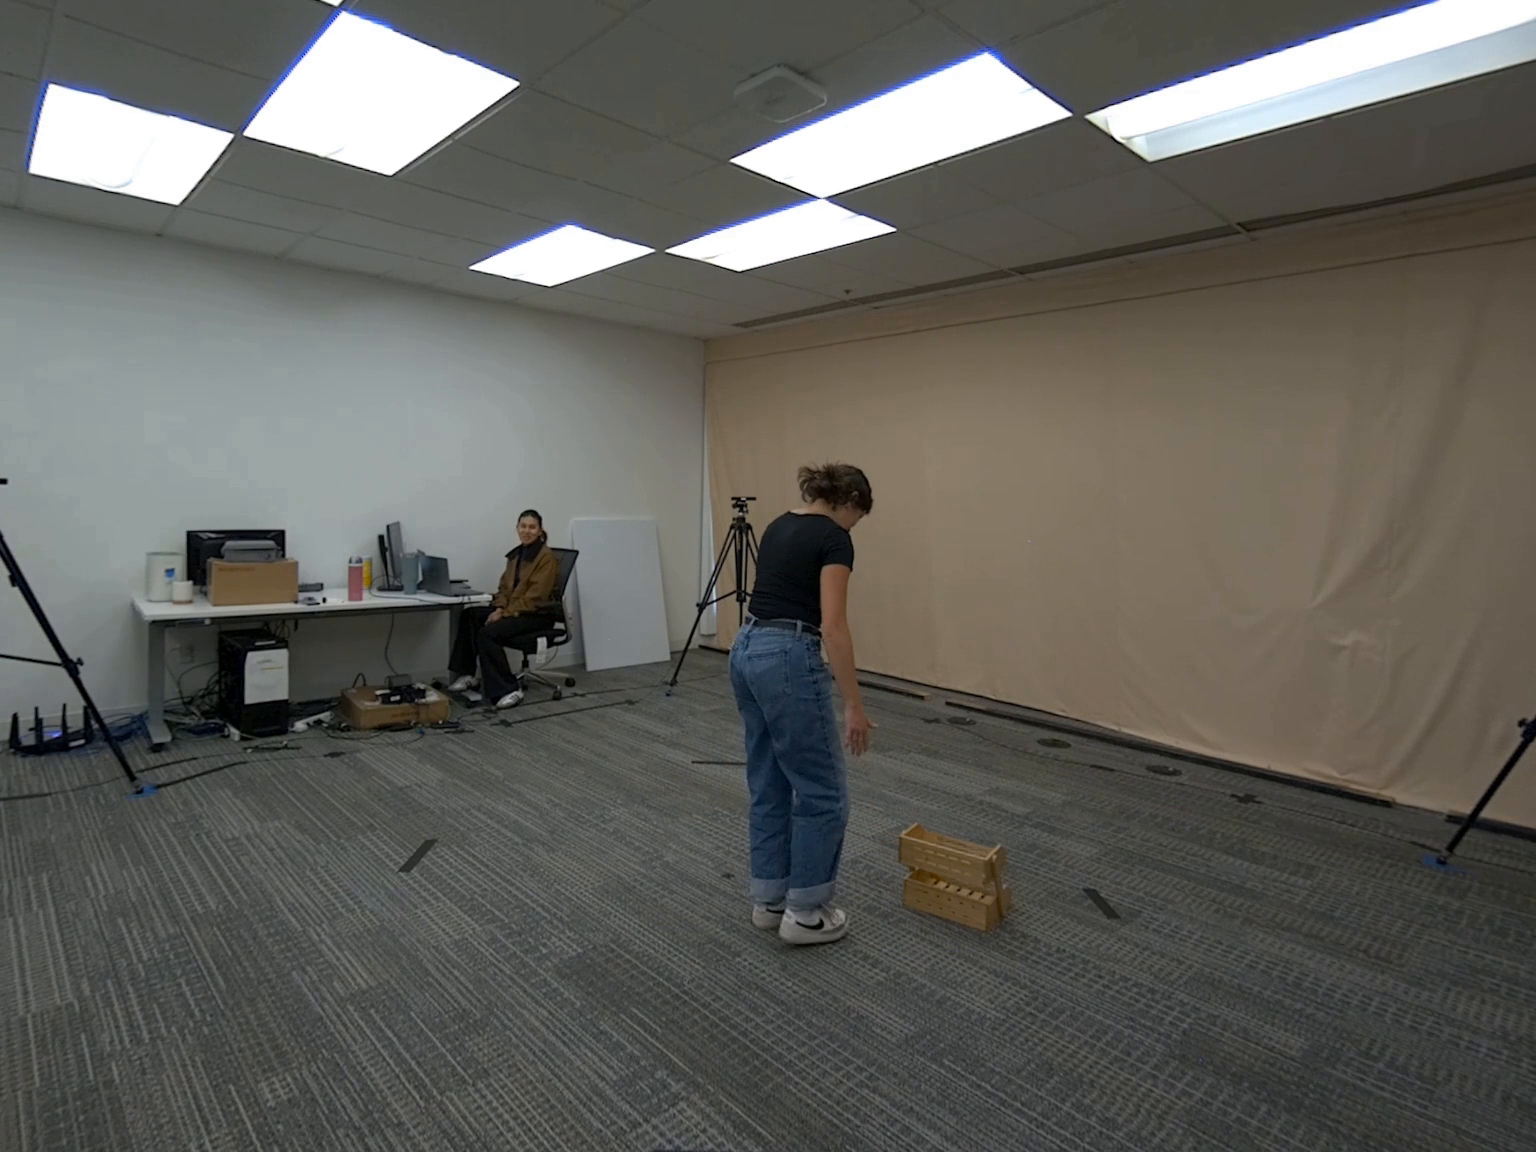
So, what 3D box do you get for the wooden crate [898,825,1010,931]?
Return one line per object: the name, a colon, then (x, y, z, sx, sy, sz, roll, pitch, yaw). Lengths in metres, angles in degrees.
wooden crate: (0.644, 1.012, 2.900, 0.332, 0.272, 0.296, 5, 6, 34)
